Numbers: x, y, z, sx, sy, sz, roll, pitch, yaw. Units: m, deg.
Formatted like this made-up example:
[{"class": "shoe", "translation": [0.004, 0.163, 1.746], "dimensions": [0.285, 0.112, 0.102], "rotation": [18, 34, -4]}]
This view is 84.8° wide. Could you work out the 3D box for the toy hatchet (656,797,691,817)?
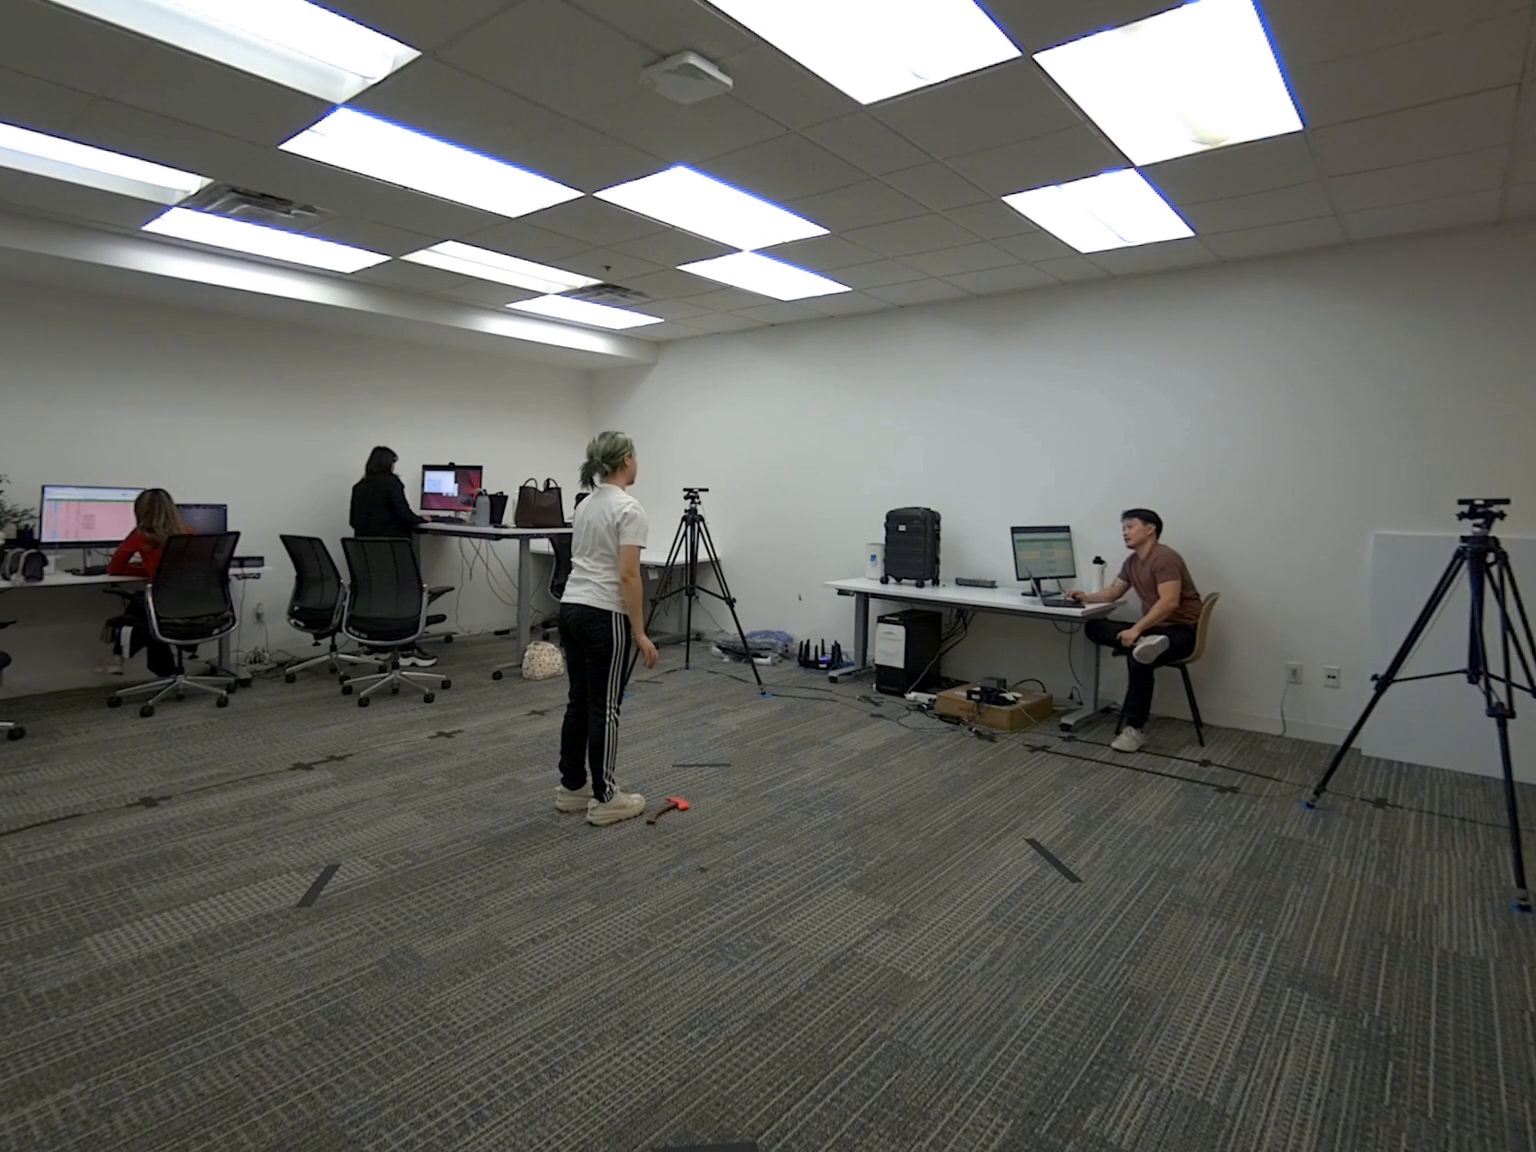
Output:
[{"class": "toy hatchet", "translation": [-0.432, 1.002, 3.626], "dimensions": [0.133, 0.029, 0.268], "rotation": [4, 9, 10]}]
